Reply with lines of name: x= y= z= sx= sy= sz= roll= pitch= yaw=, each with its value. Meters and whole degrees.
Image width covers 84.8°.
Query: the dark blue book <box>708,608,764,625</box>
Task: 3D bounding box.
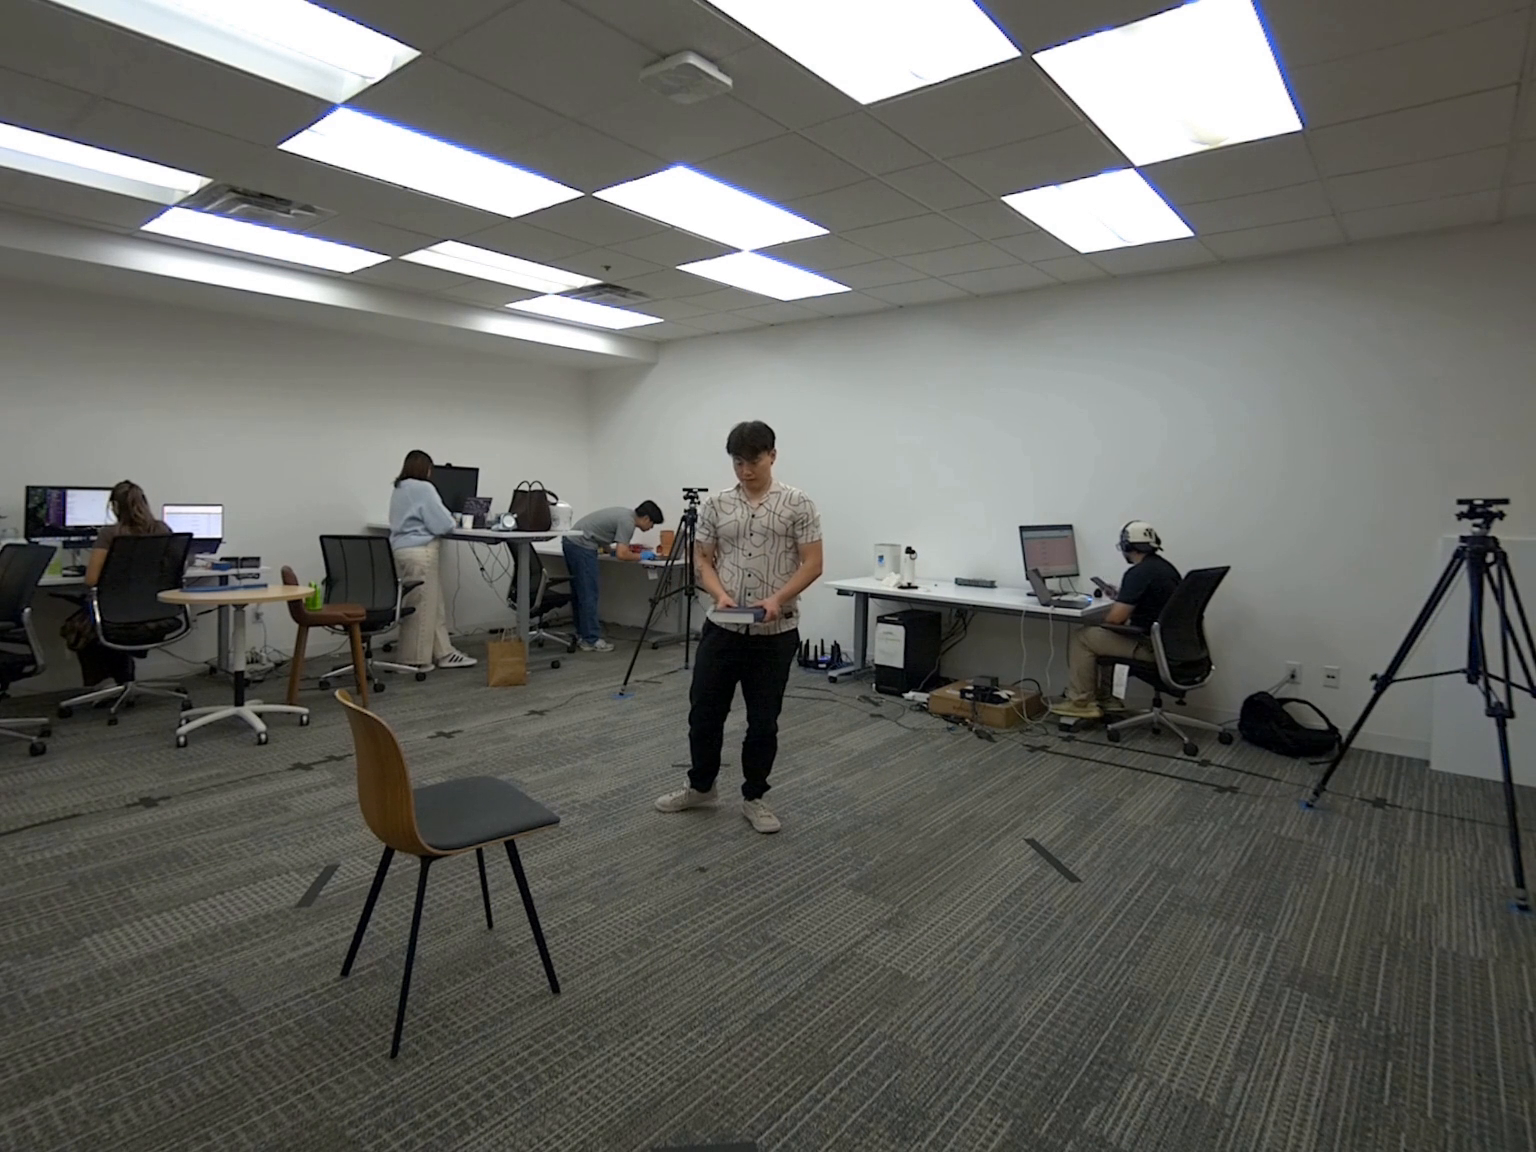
dark blue book: x=-0.116 y=0.148 z=3.279 sx=0.167 sy=0.045 sz=0.240 roll=0 pitch=1 yaw=18
